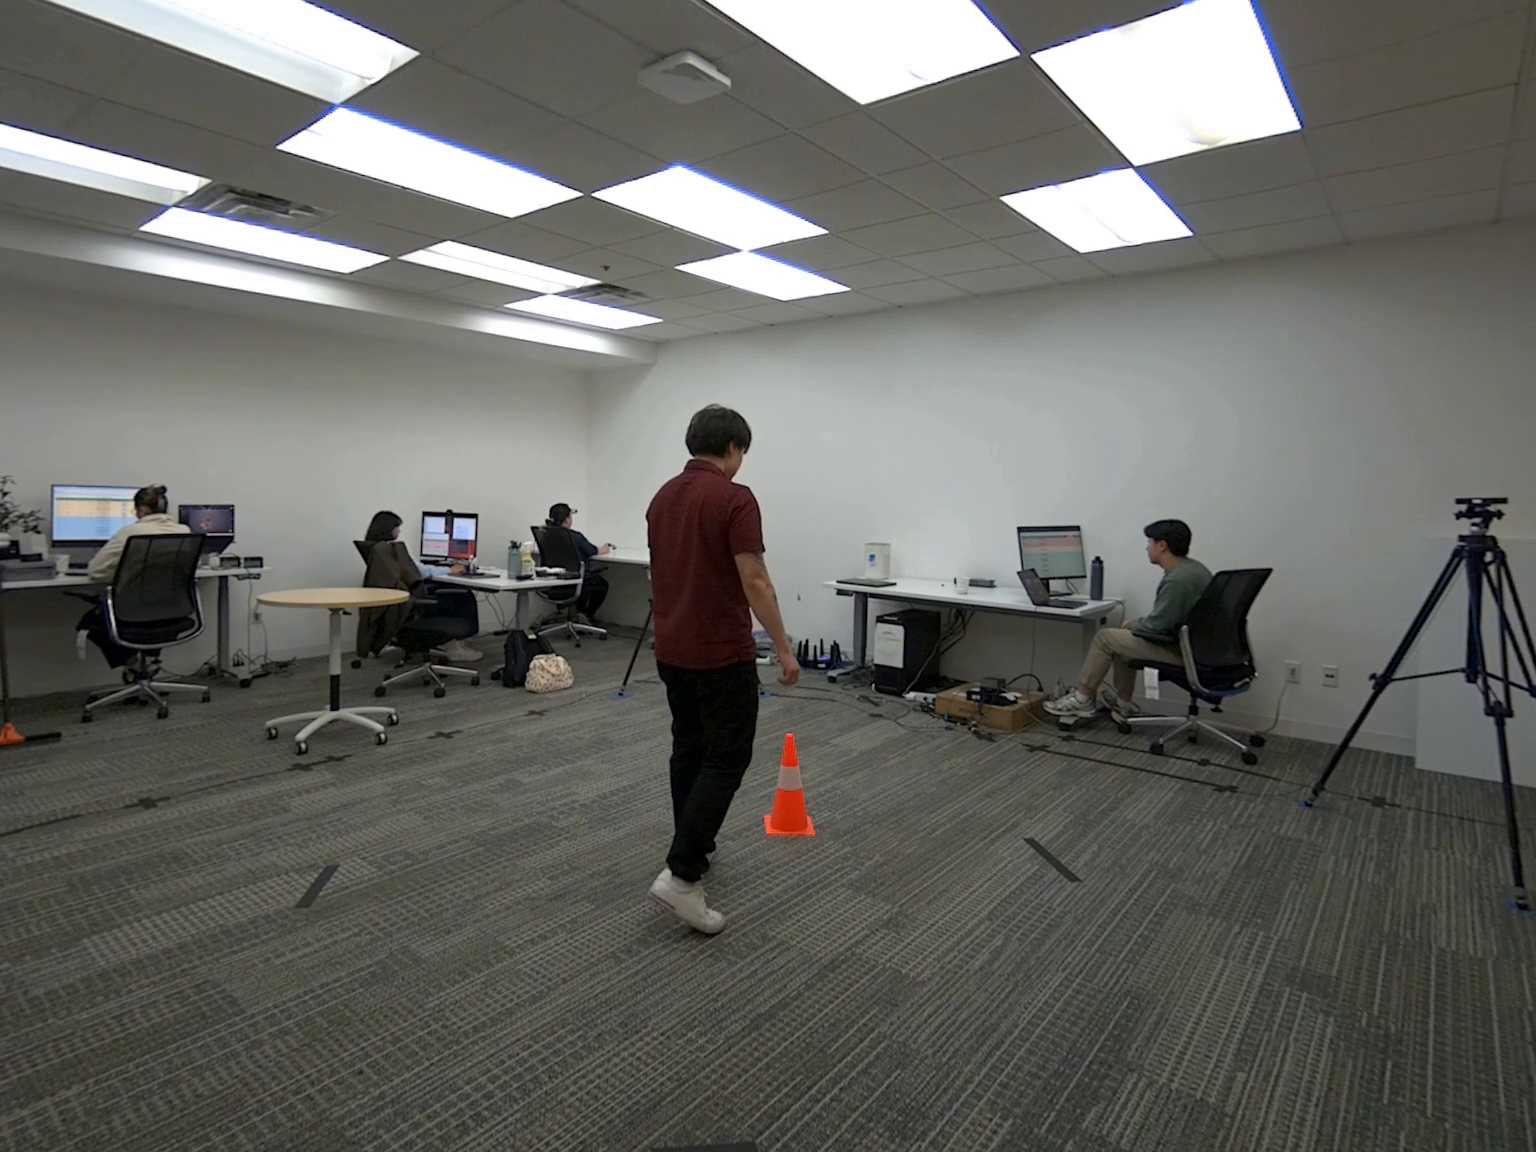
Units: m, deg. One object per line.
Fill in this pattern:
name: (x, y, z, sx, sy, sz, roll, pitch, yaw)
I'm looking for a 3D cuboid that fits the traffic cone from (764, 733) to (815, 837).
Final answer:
traffic cone: (0.082, 0.849, 3.536, 0.203, 0.383, 0.205, 2, 3, 0)
